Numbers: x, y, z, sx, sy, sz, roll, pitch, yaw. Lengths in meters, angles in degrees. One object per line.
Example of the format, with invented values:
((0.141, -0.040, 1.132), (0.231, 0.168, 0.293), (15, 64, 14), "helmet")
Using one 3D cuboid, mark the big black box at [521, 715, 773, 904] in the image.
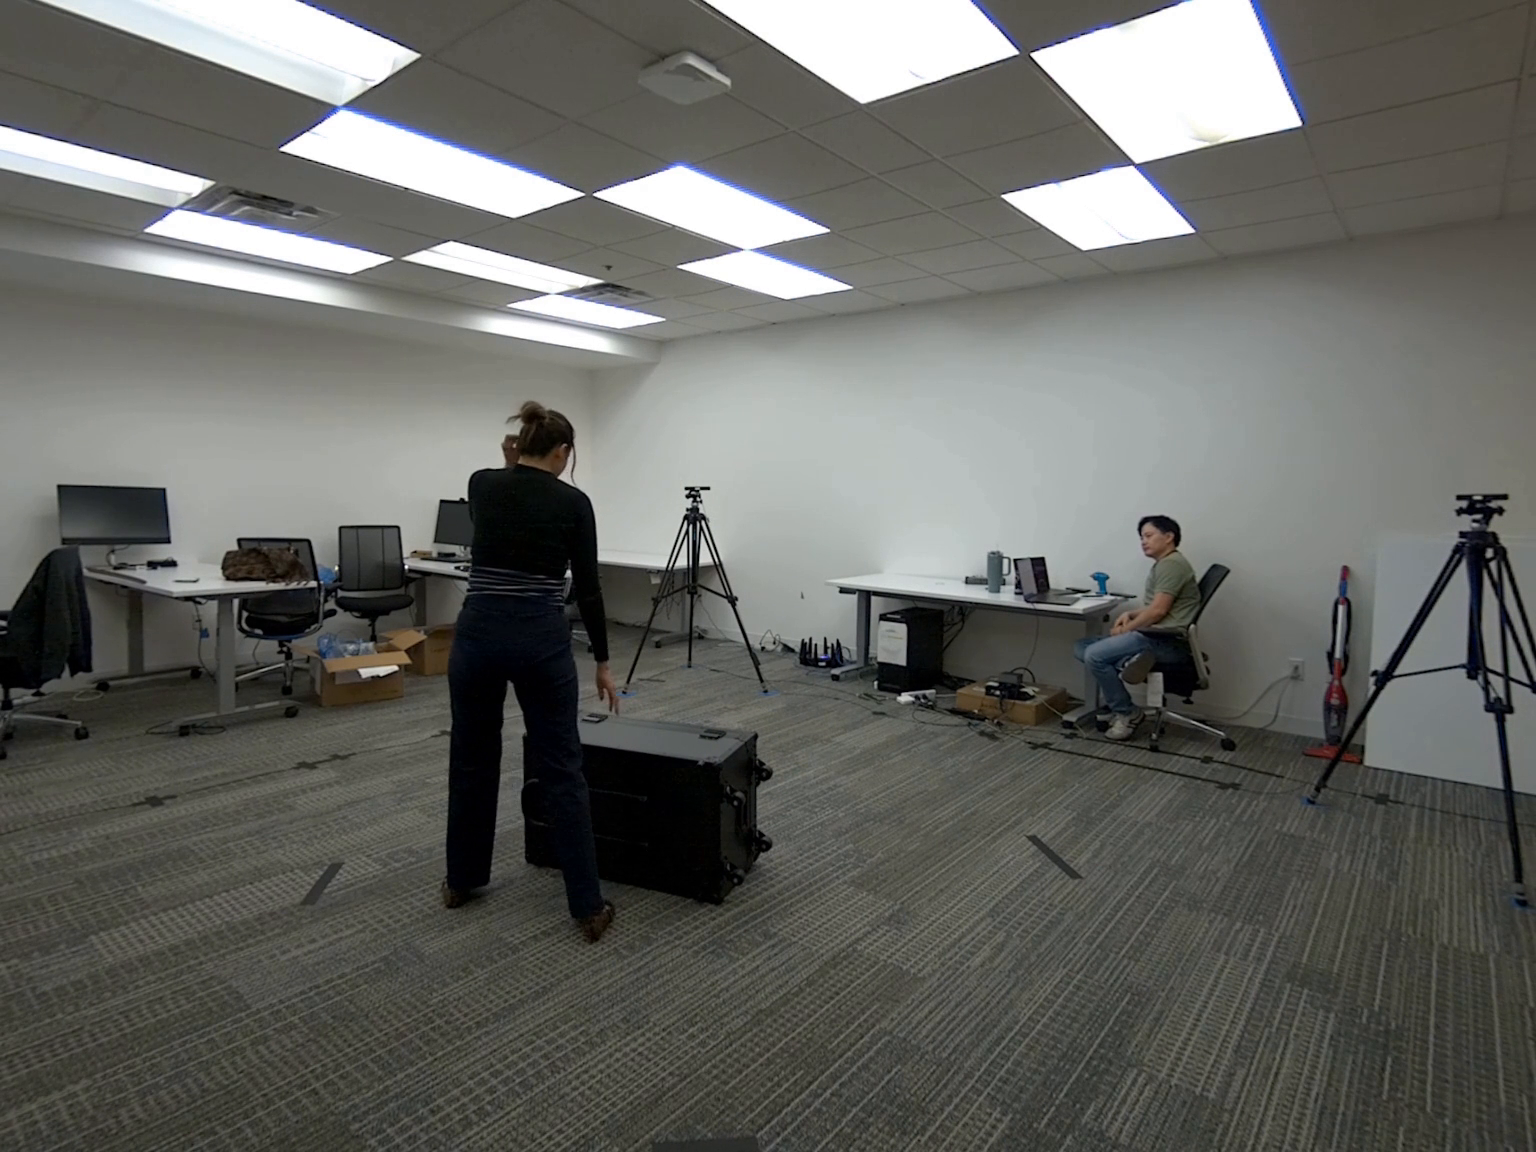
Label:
((-0.449, 0.806, 3.090), (0.881, 0.519, 0.389), (2, 6, 22), "big black box")
